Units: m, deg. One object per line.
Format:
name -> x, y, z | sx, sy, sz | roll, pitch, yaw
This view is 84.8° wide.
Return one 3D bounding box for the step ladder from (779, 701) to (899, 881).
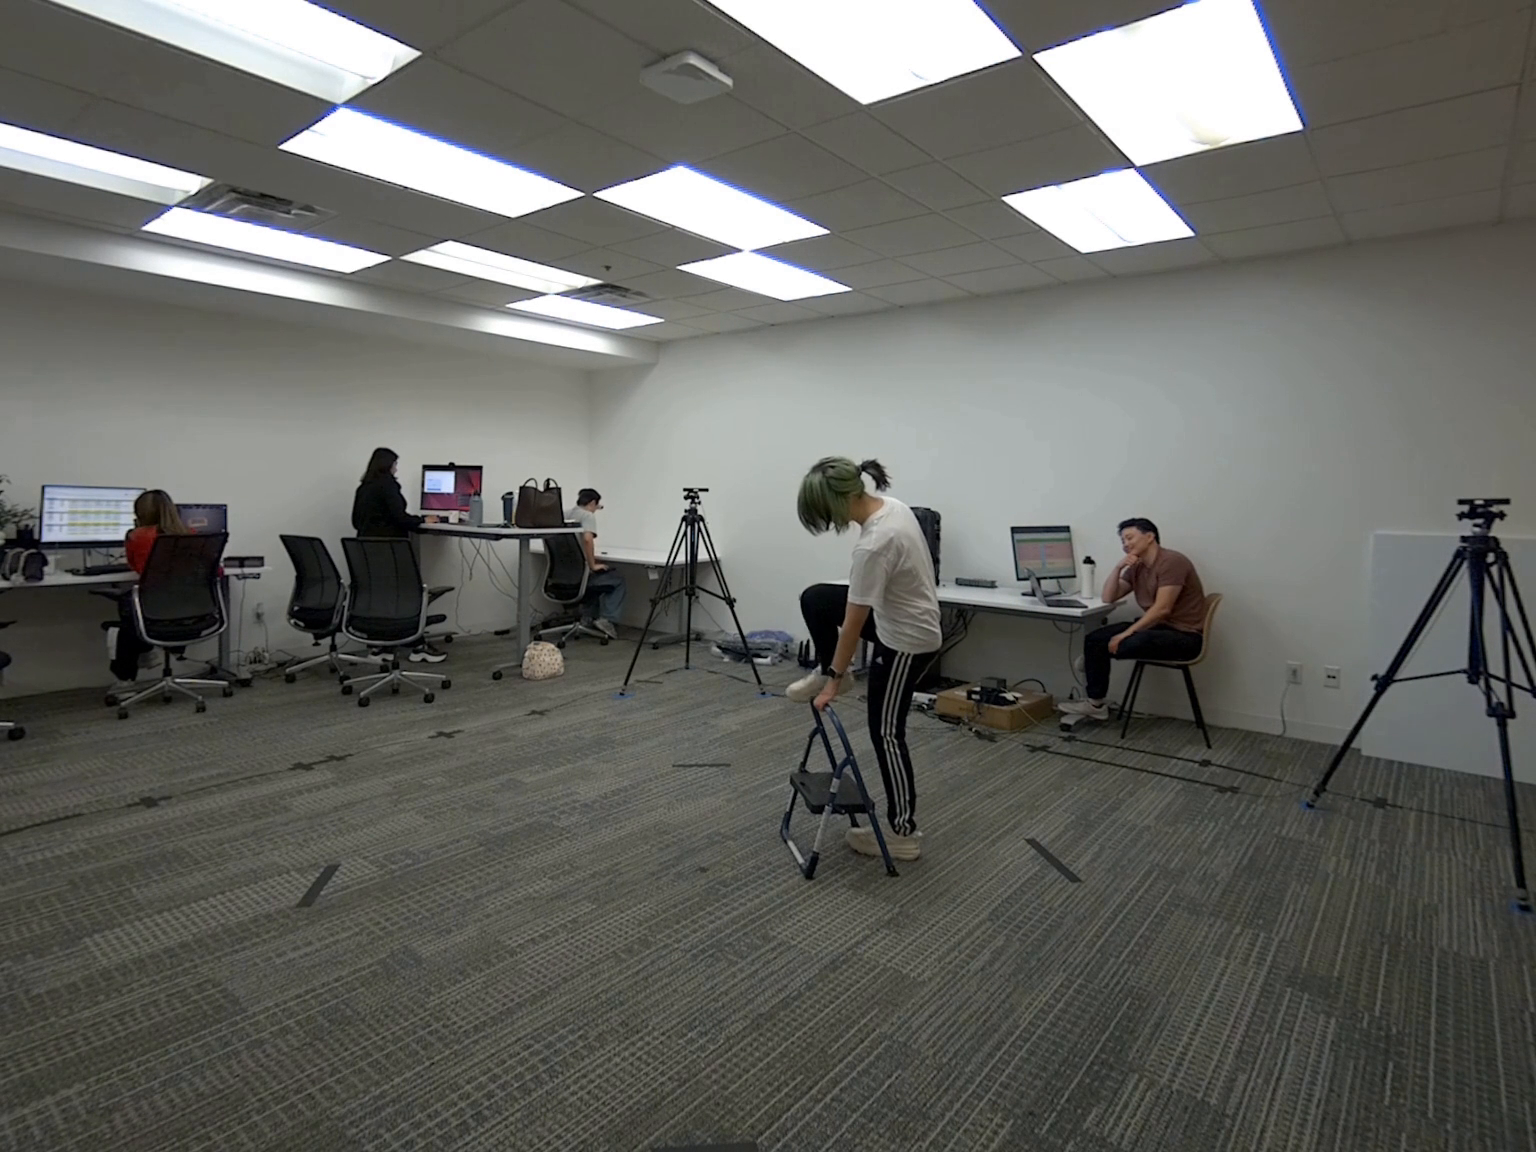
step ladder -> 0.260, 0.764, 3.255 | 0.345, 0.604, 0.437 | 1, 3, -12
